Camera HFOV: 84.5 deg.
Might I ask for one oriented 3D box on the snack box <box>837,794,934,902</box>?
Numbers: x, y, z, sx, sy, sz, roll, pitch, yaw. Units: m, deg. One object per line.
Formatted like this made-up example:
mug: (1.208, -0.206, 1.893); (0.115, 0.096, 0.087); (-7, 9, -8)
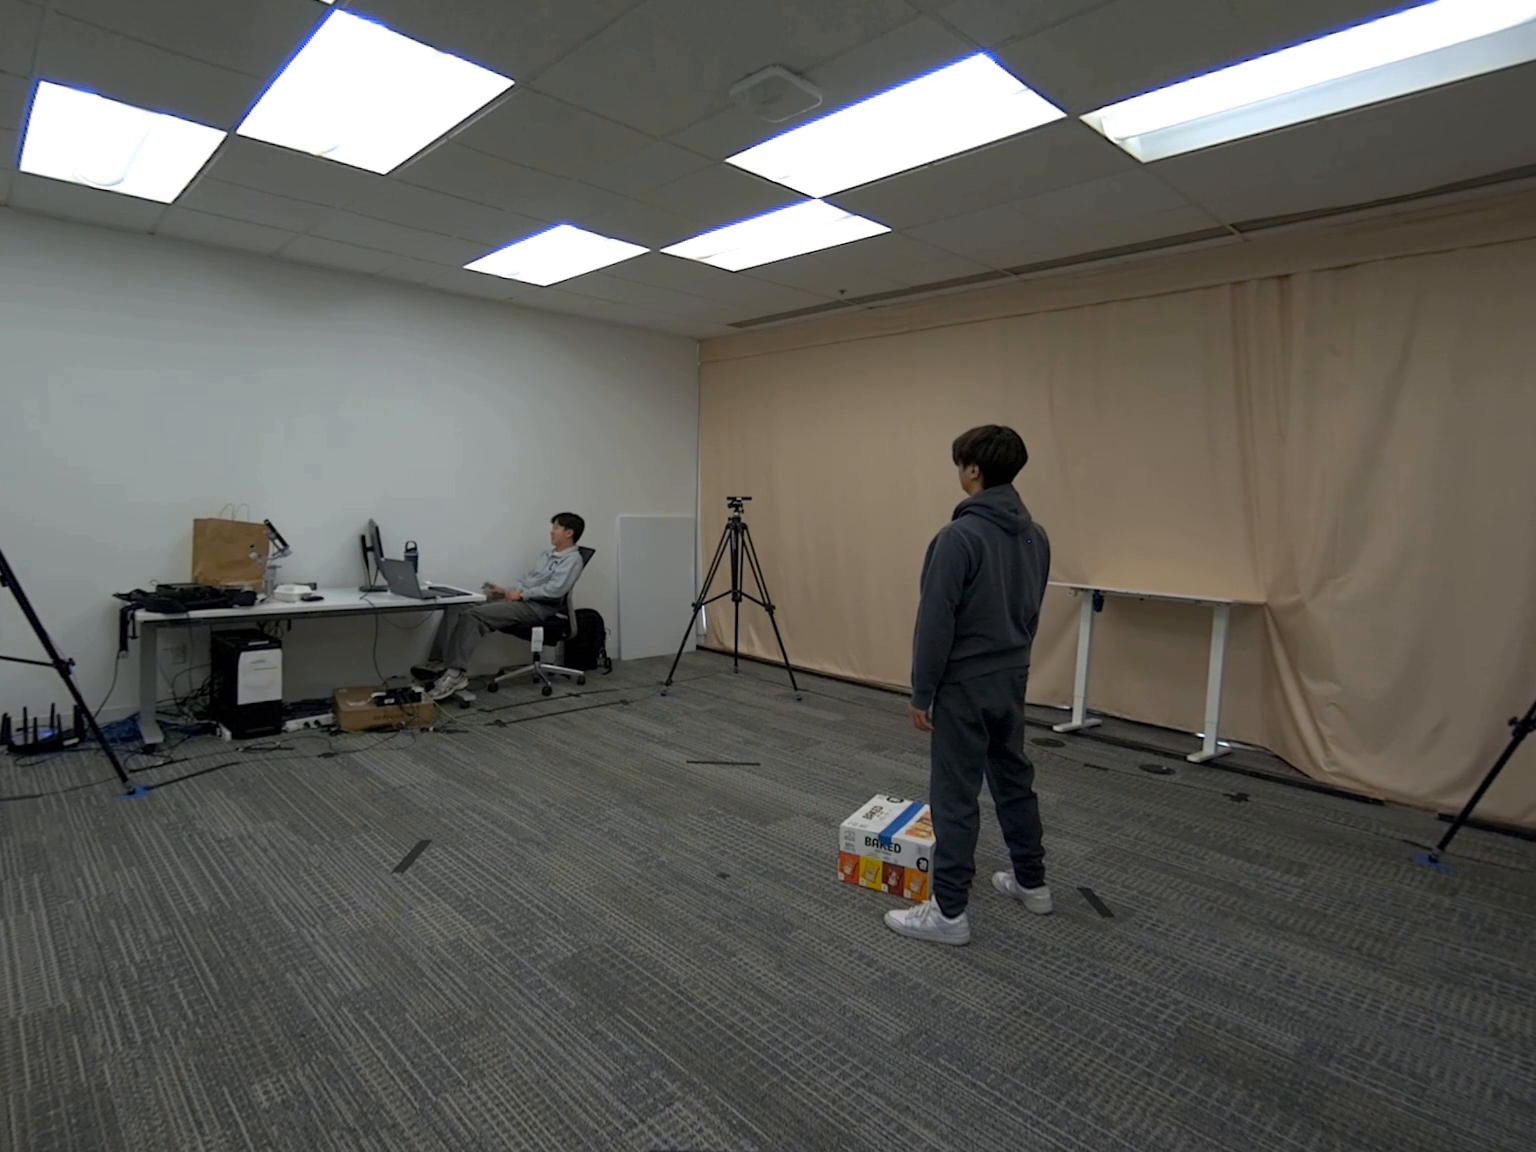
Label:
snack box: (0.494, 1.014, 3.173); (0.348, 0.205, 0.397); (4, 5, 29)
